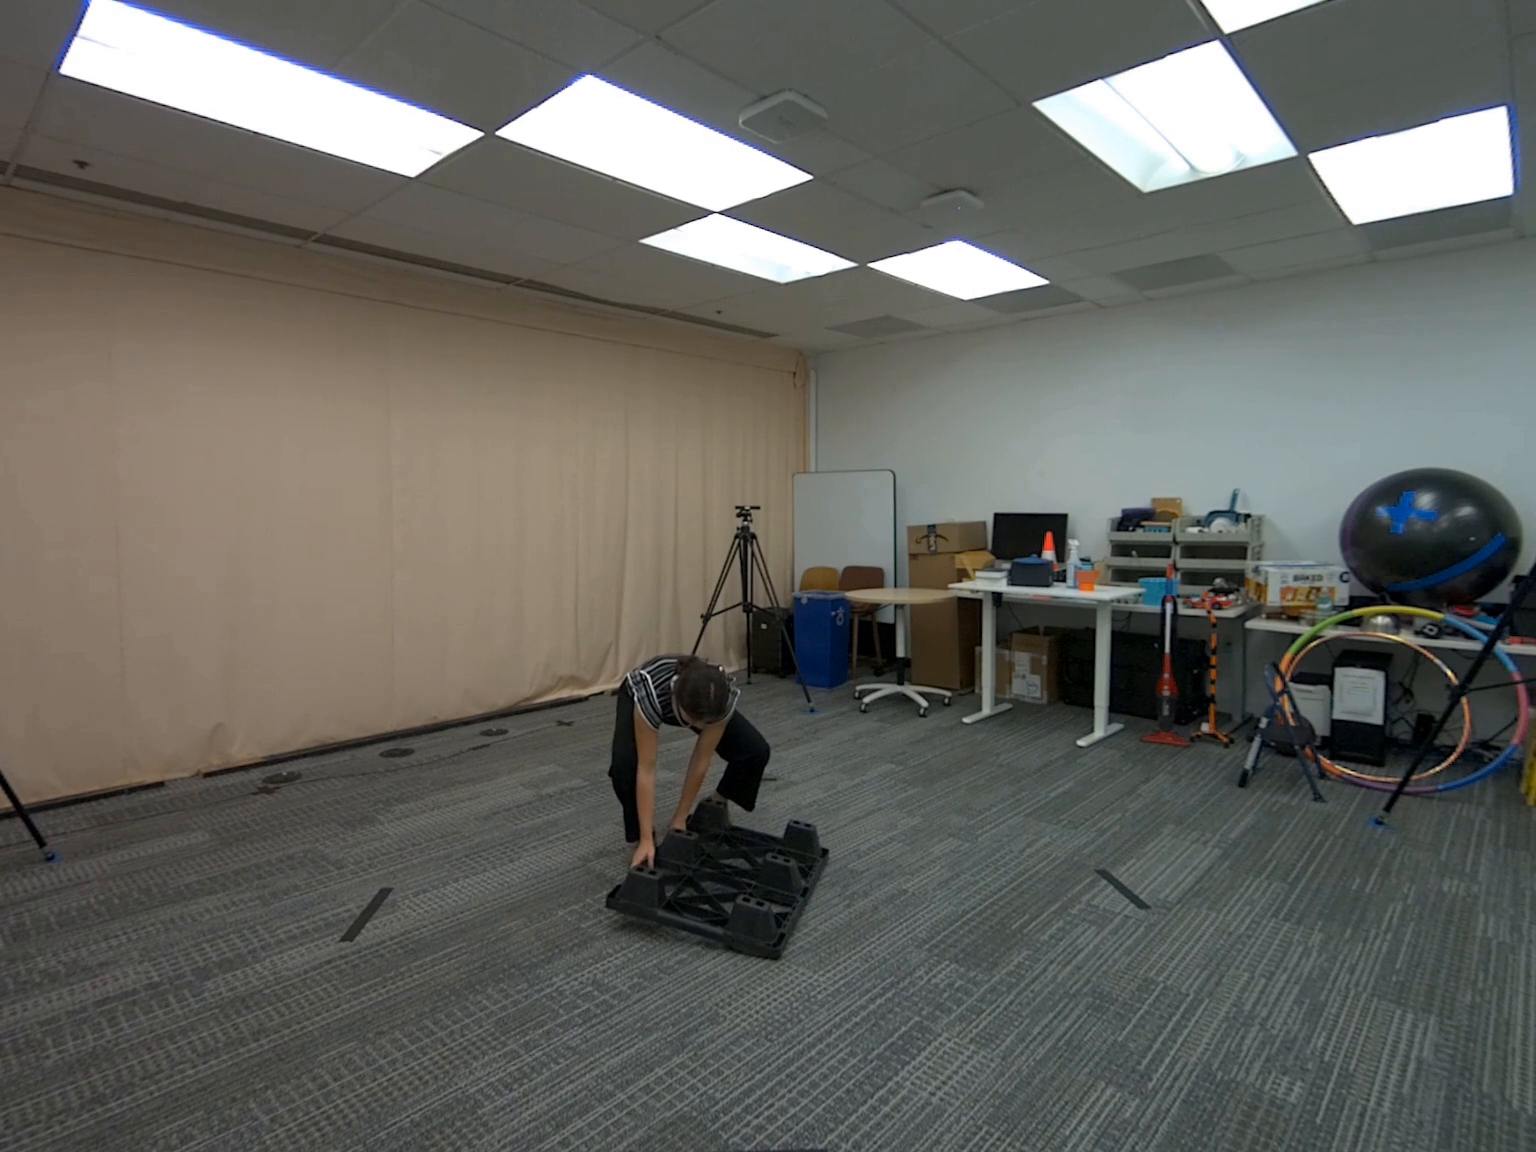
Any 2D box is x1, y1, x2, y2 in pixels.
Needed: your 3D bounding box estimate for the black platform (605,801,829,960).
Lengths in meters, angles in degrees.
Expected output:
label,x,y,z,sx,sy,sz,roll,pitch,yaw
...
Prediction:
label,x,y,z,sx,sy,sz,roll,pitch,yaw
black platform,-0.140,1.034,3.036,0.617,0.143,0.793,9,7,16
